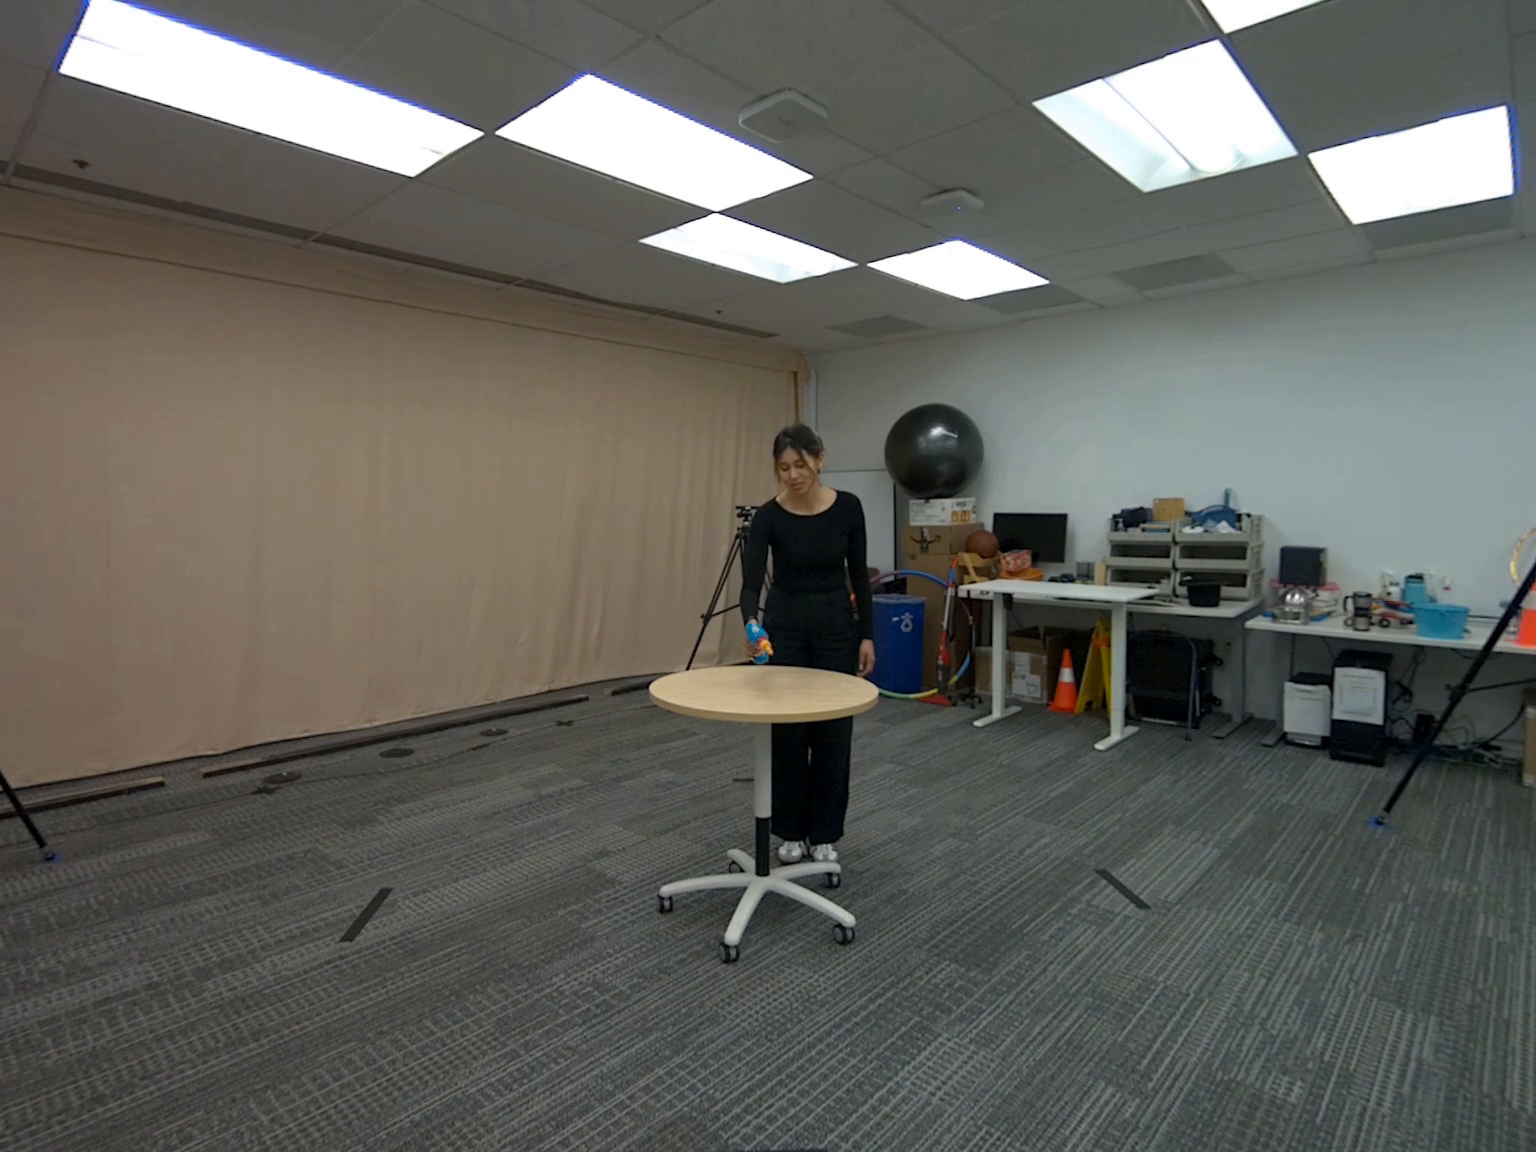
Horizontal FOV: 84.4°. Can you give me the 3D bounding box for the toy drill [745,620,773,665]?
[{"bbox_3d":[-0.017,0.253,2.761,0.060,0.144,0.175,-7,32,-20],"label":"toy drill"}]
